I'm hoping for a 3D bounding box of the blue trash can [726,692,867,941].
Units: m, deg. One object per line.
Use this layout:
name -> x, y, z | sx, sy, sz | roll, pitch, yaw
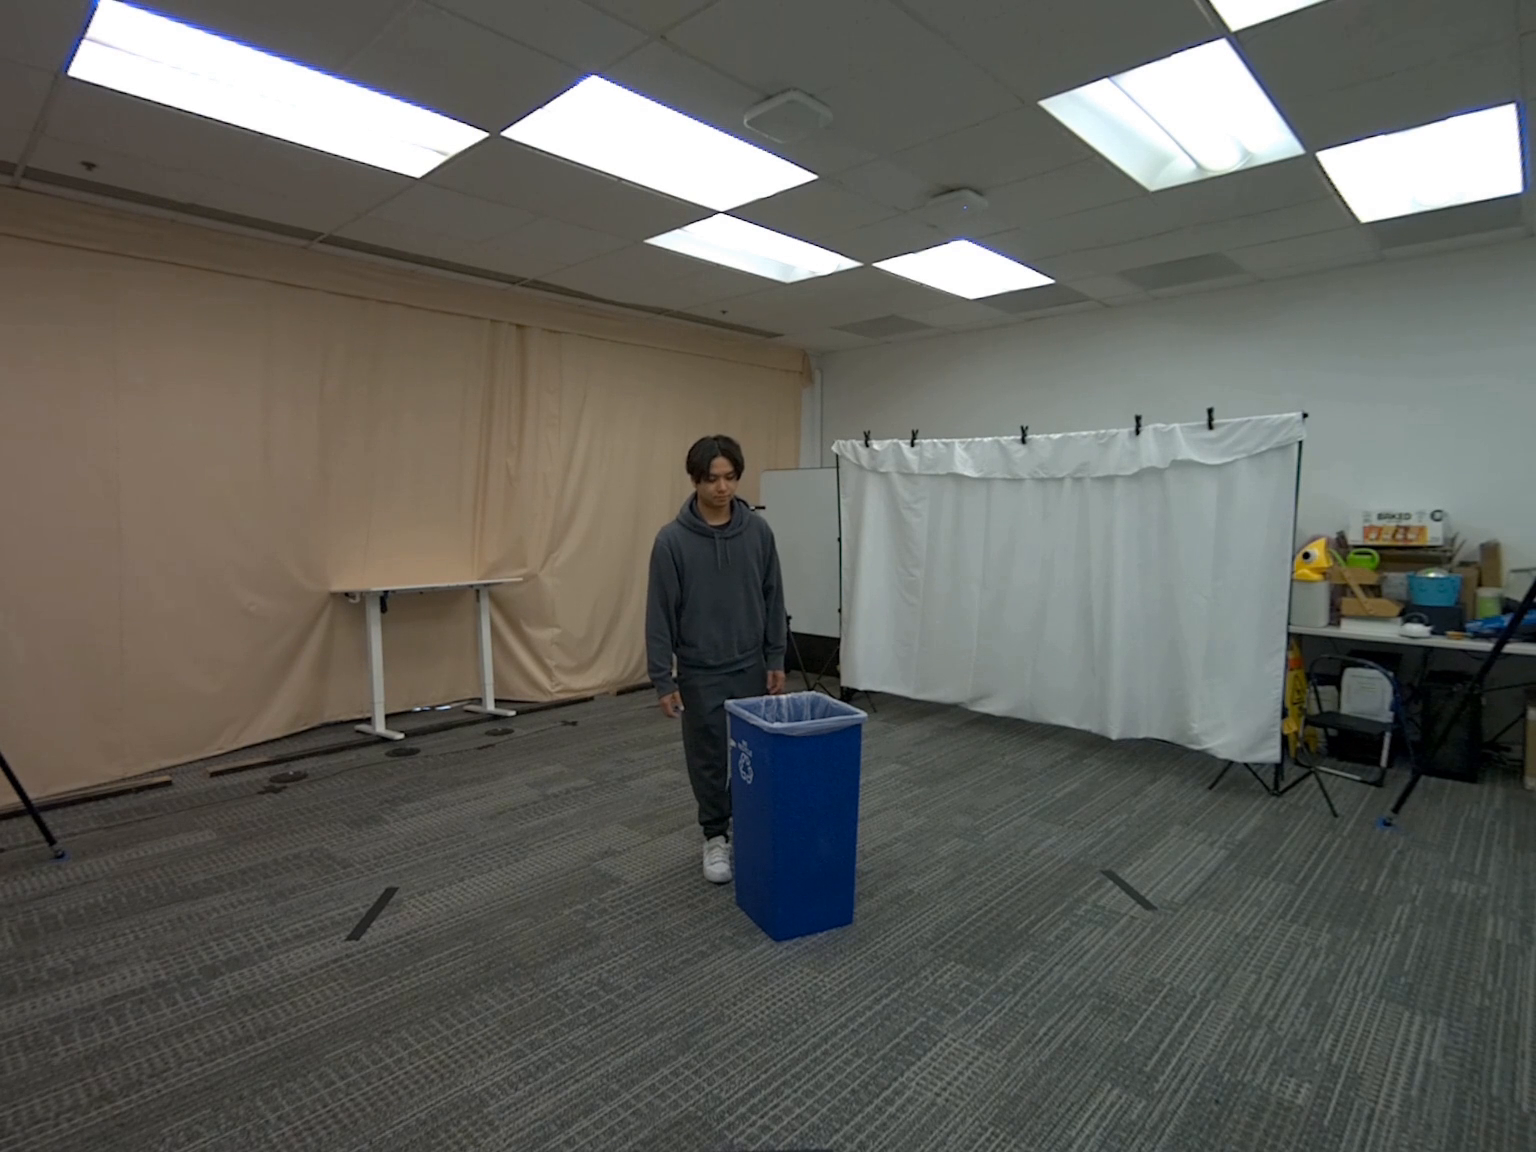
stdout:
blue trash can -> 0.098, 0.796, 2.855 | 0.369, 0.712, 0.384 | -3, 4, -26
